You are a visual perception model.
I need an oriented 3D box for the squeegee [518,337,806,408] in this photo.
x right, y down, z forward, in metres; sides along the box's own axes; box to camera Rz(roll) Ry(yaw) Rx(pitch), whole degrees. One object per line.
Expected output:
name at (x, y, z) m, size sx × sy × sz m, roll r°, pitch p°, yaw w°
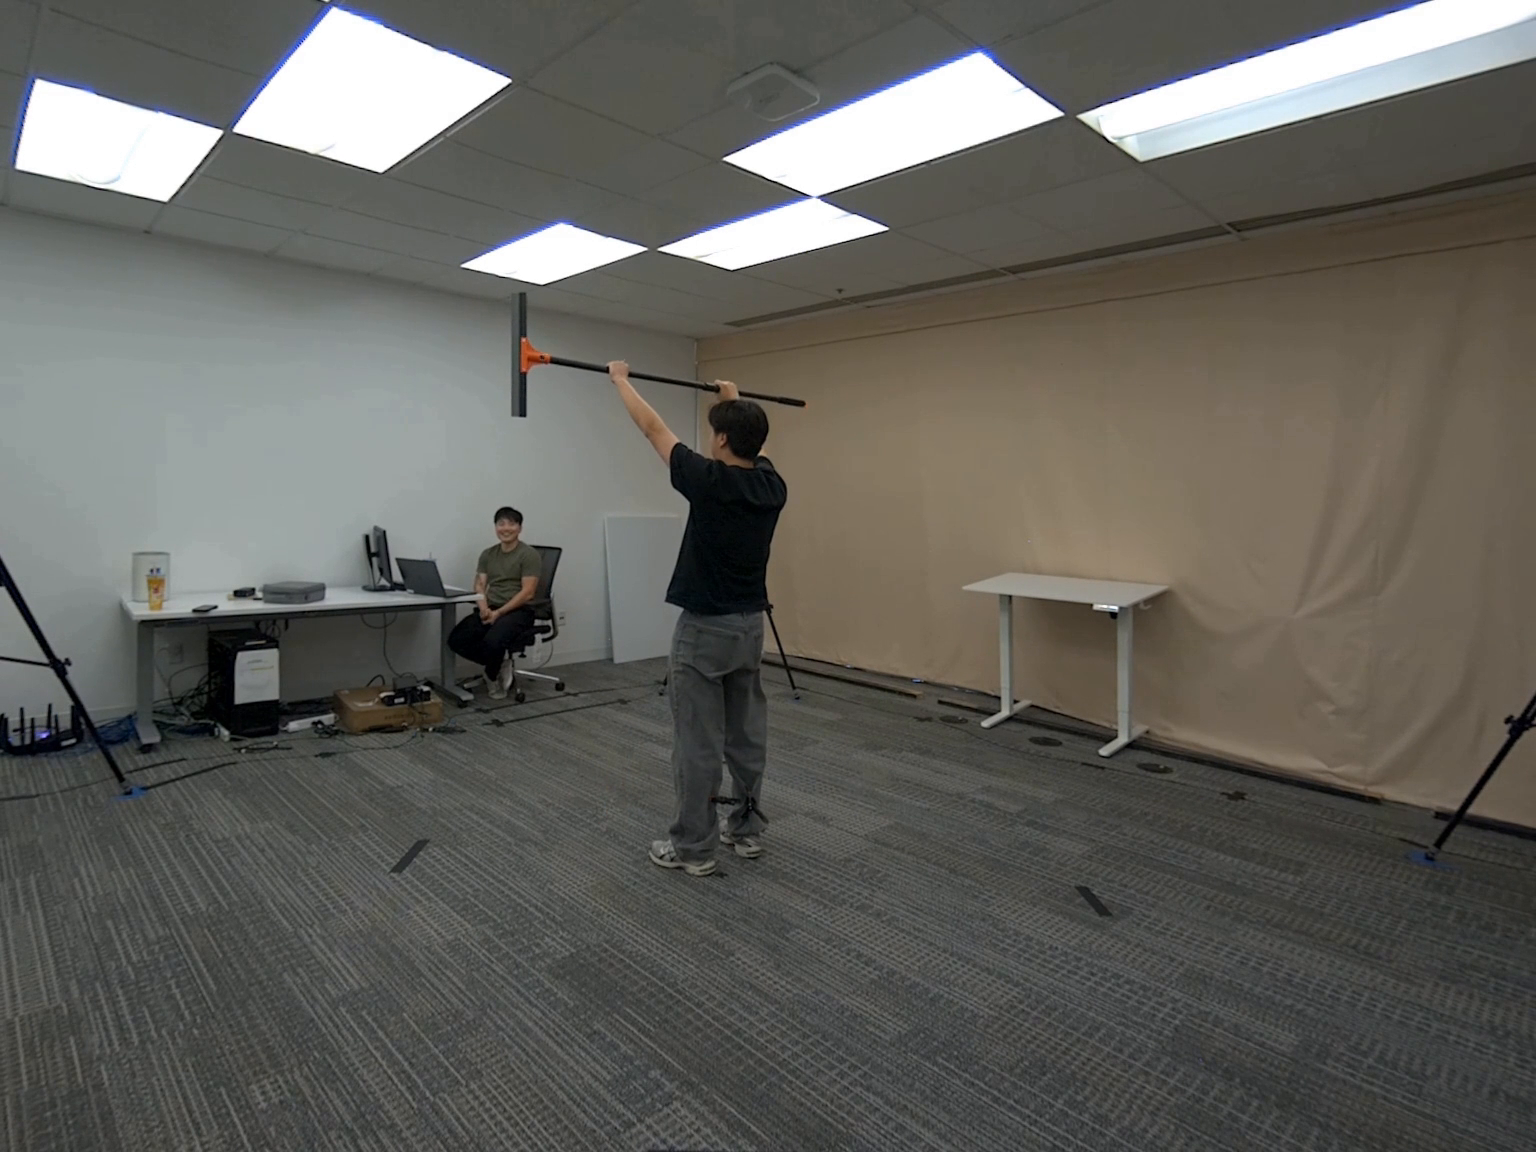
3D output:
squeegee at (-0.357, -0.790, 3.452) m, size 1.502 × 0.437 × 0.054 m, roll -2°, pitch 2°, yaw -44°
